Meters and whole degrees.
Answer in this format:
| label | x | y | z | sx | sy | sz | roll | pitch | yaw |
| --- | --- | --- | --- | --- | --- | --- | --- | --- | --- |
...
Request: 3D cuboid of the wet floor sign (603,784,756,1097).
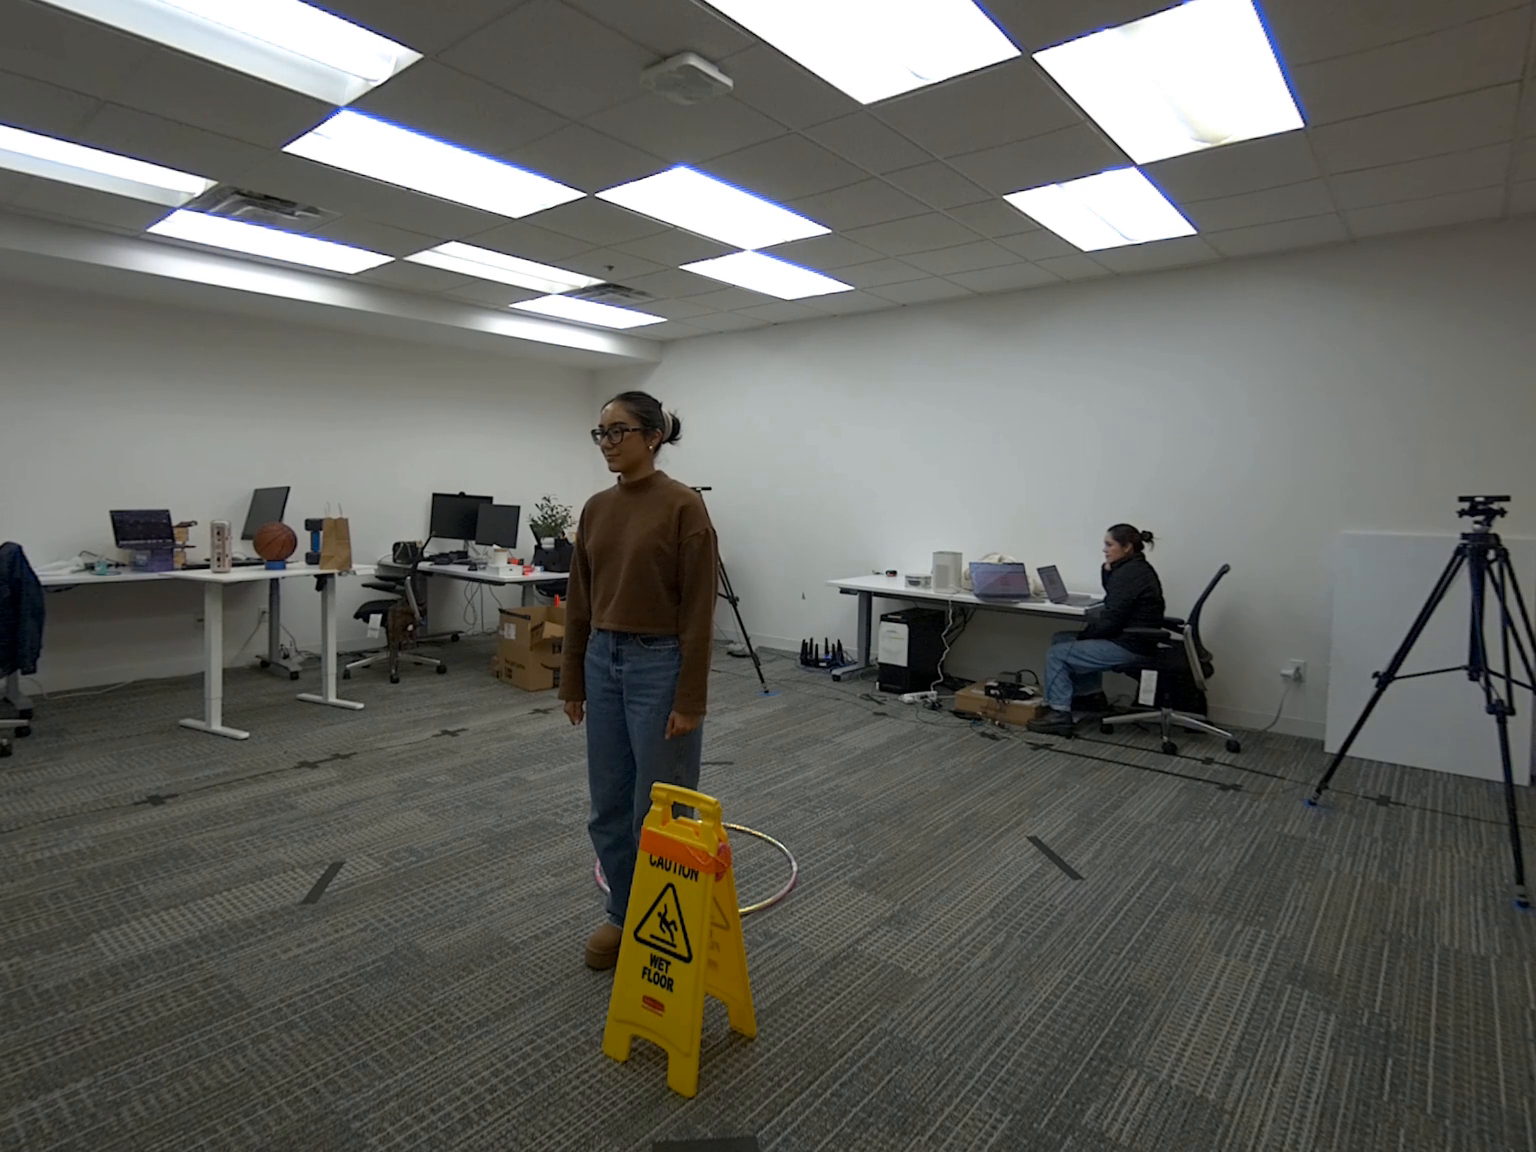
| label | x | y | z | sx | sy | sz | roll | pitch | yaw |
| --- | --- | --- | --- | --- | --- | --- | --- | --- | --- |
| wet floor sign | -0.214 | 0.846 | 2.099 | 0.291 | 0.644 | 0.282 | 2 | 3 | 33 |
